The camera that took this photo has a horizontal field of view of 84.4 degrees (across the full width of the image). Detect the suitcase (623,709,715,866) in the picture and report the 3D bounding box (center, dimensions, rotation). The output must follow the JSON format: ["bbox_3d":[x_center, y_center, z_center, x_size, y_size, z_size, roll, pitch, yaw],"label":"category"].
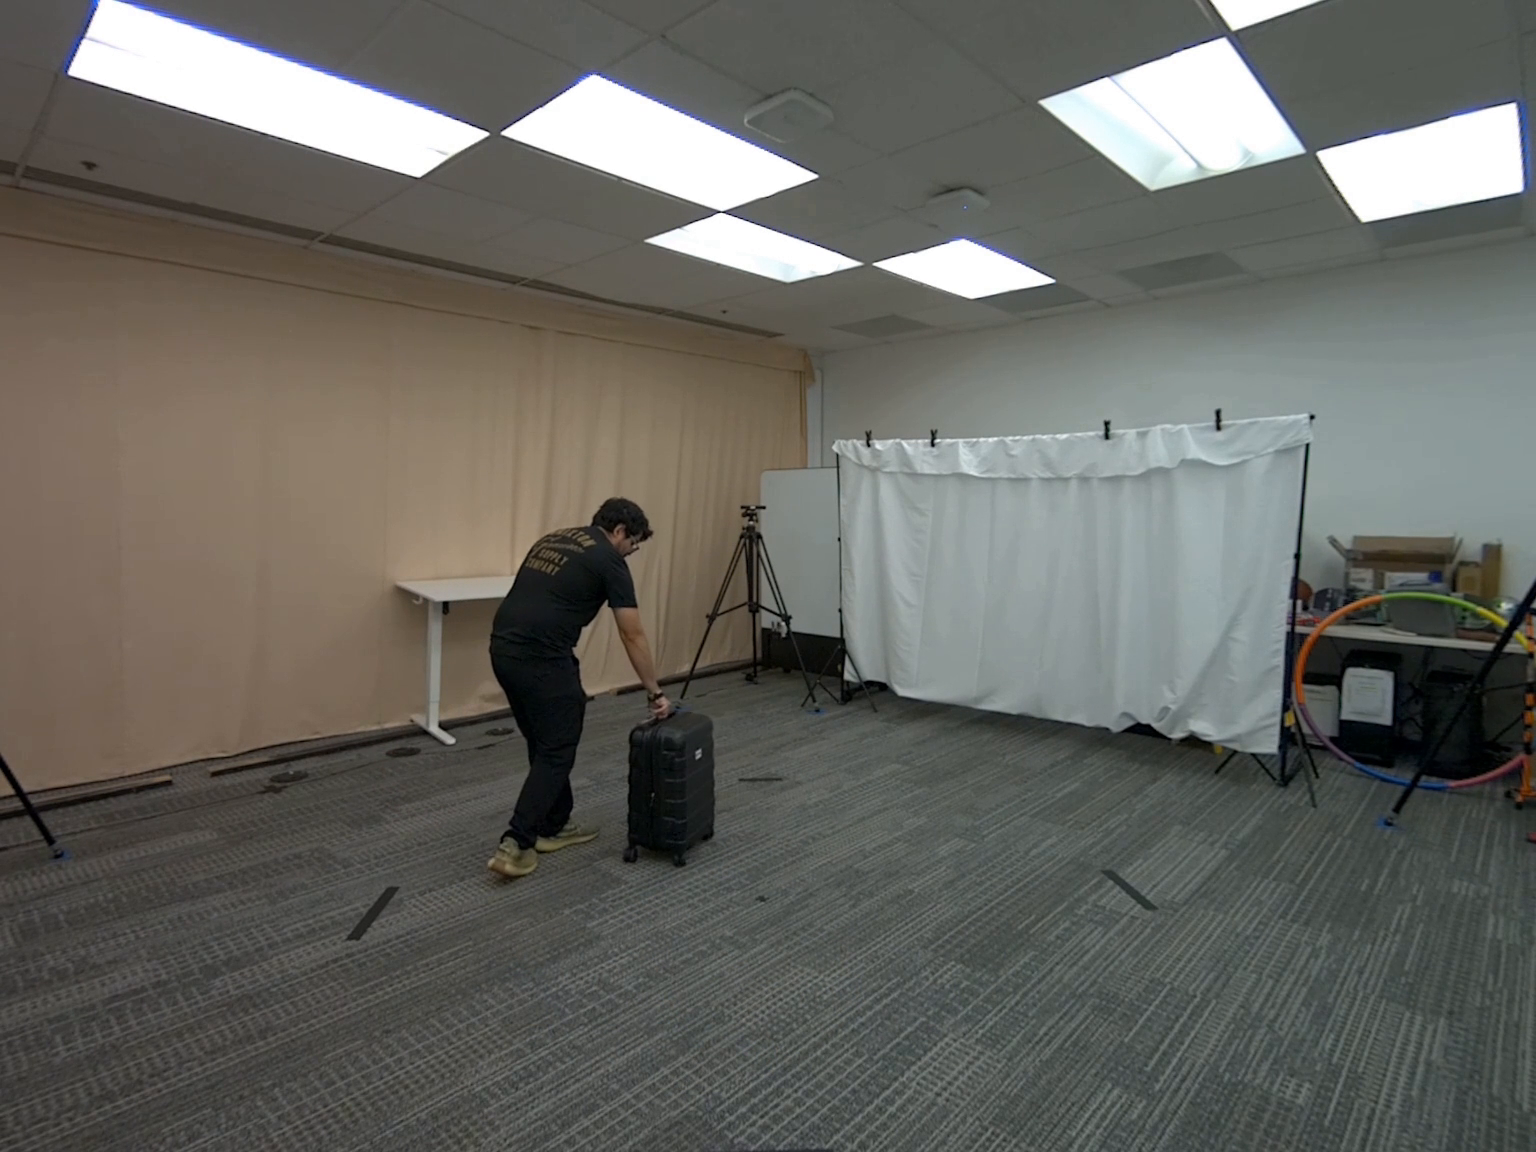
[{"bbox_3d":[-0.390,0.836,3.403,0.254,0.548,0.368,2,4,20],"label":"suitcase"}]
